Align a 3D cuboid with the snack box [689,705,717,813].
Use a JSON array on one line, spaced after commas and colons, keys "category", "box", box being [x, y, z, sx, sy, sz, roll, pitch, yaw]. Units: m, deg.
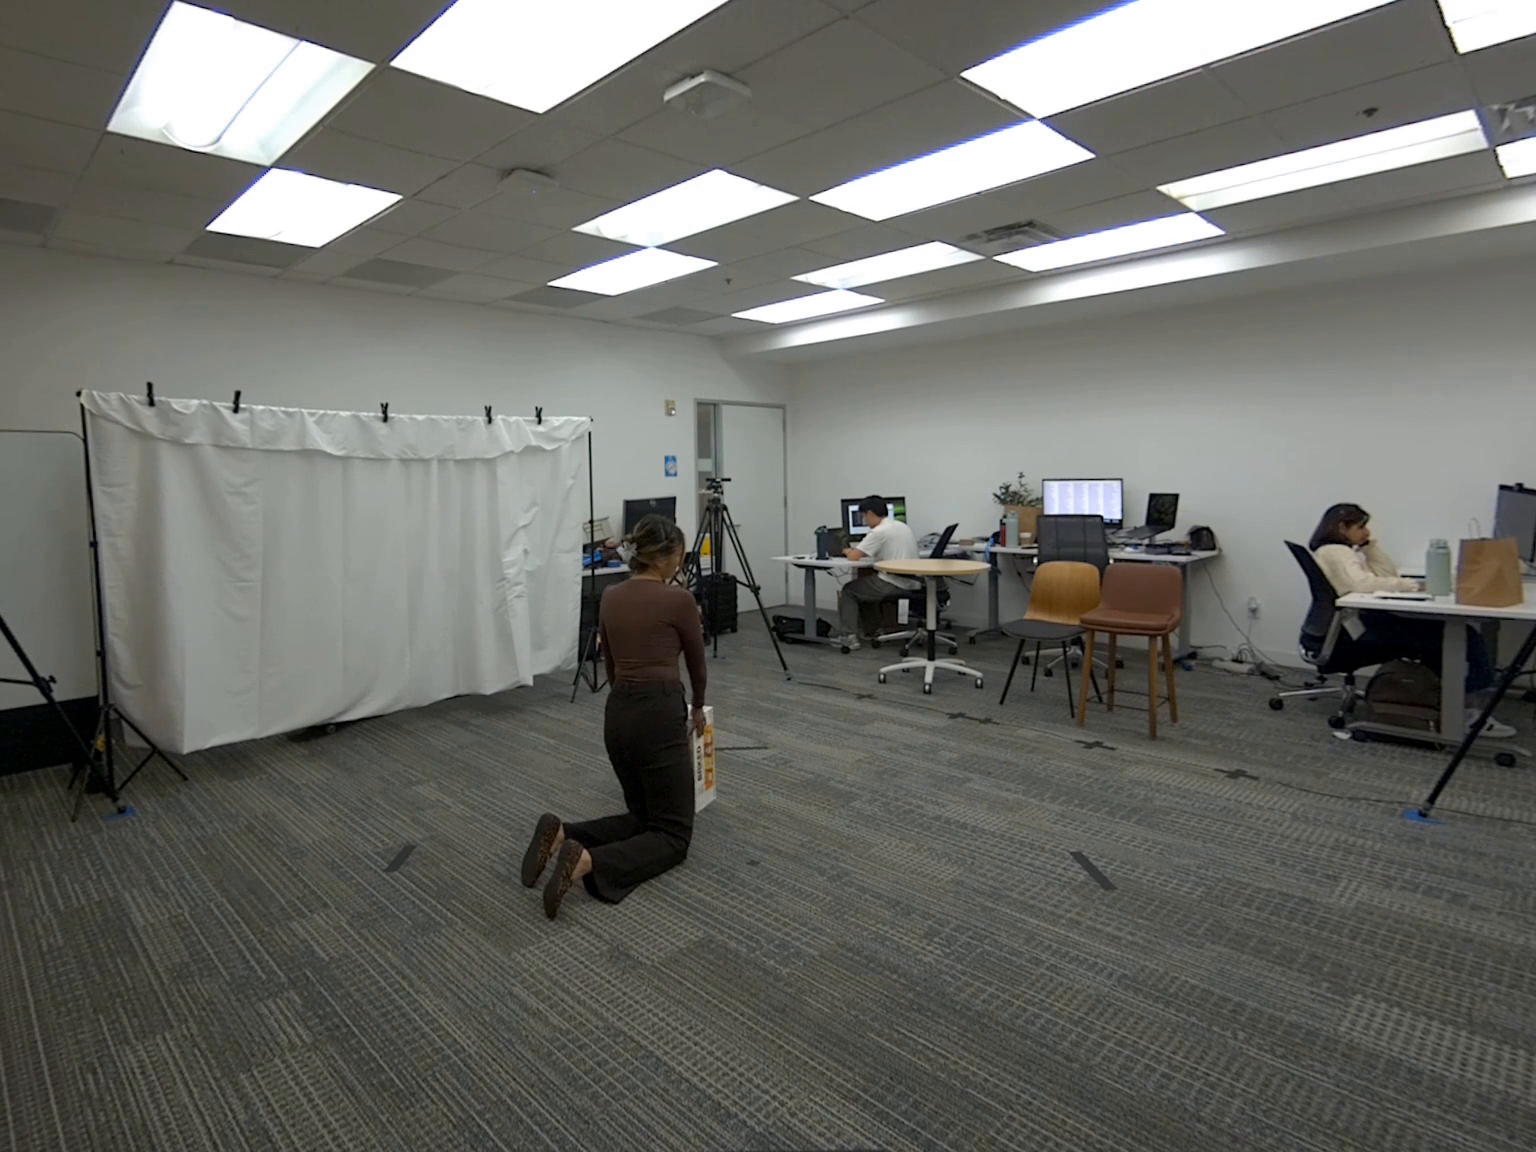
[{"category": "snack box", "box": [-0.422, 0.775, 3.716, 0.348, 0.404, 0.202, 1, 4, 24]}]
